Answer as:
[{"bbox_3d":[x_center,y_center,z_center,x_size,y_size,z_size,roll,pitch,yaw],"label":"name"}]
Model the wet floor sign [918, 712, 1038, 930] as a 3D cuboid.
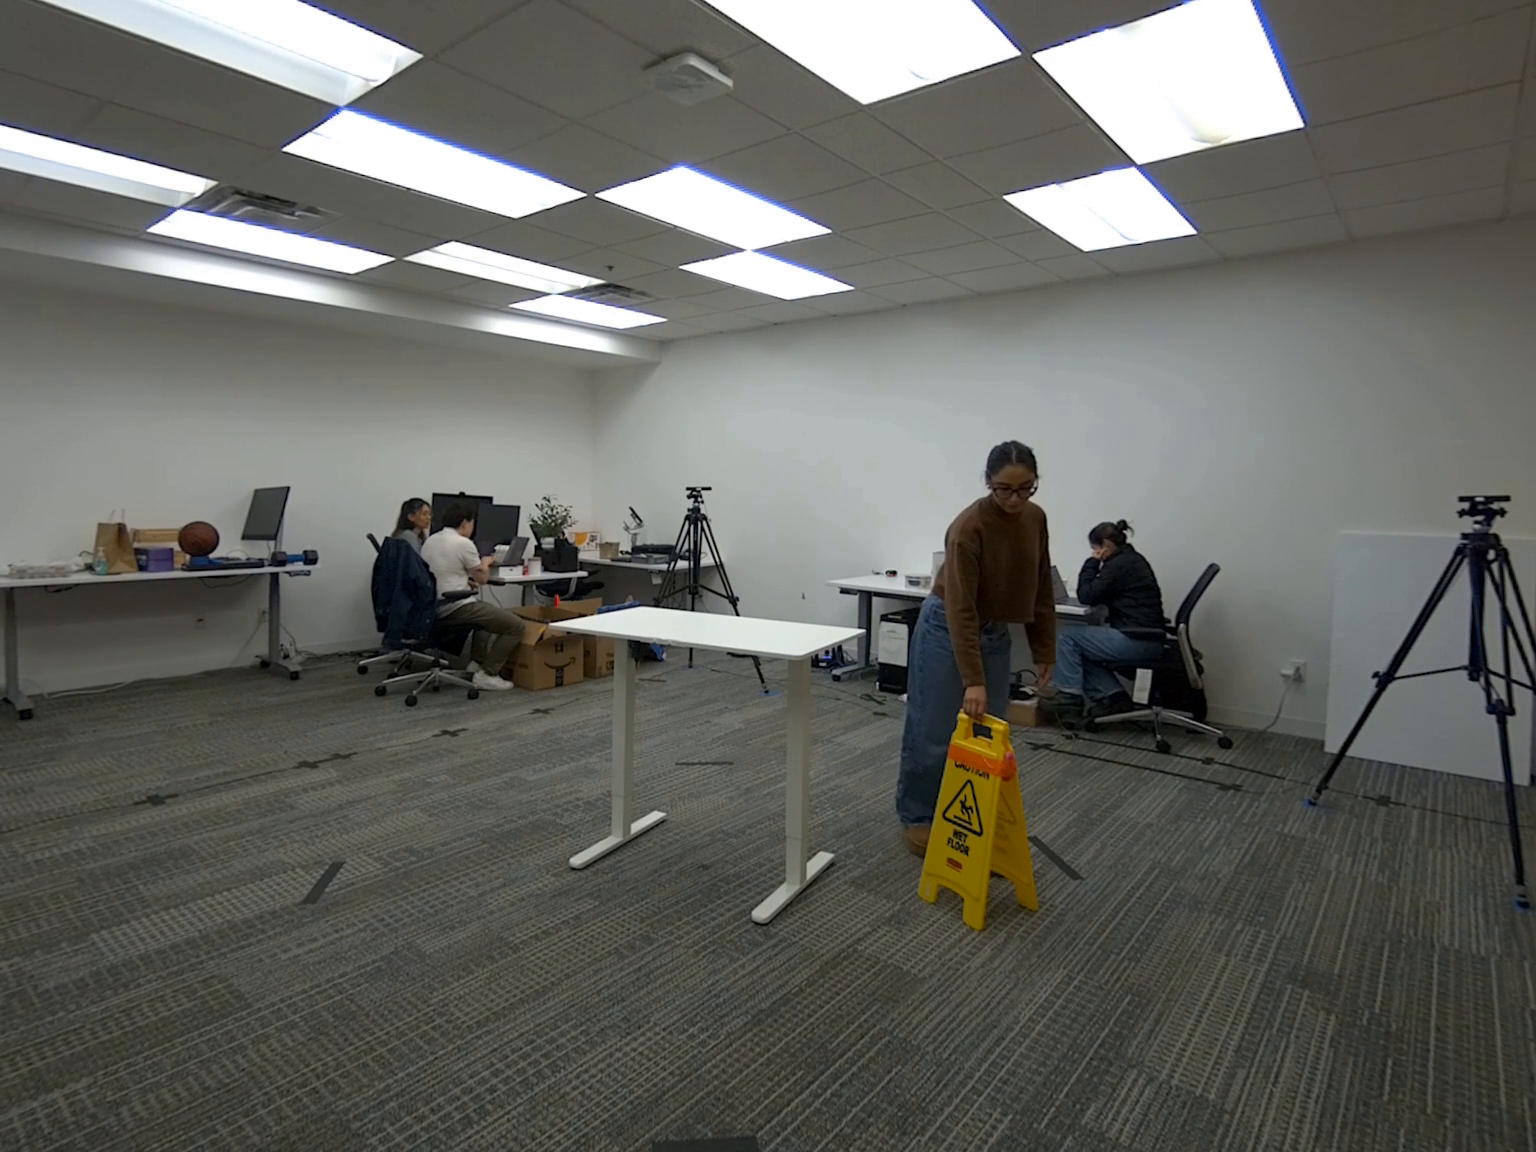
[{"bbox_3d":[0.719,0.788,2.871,0.282,0.643,0.291,-1,5,-32],"label":"wet floor sign"}]
